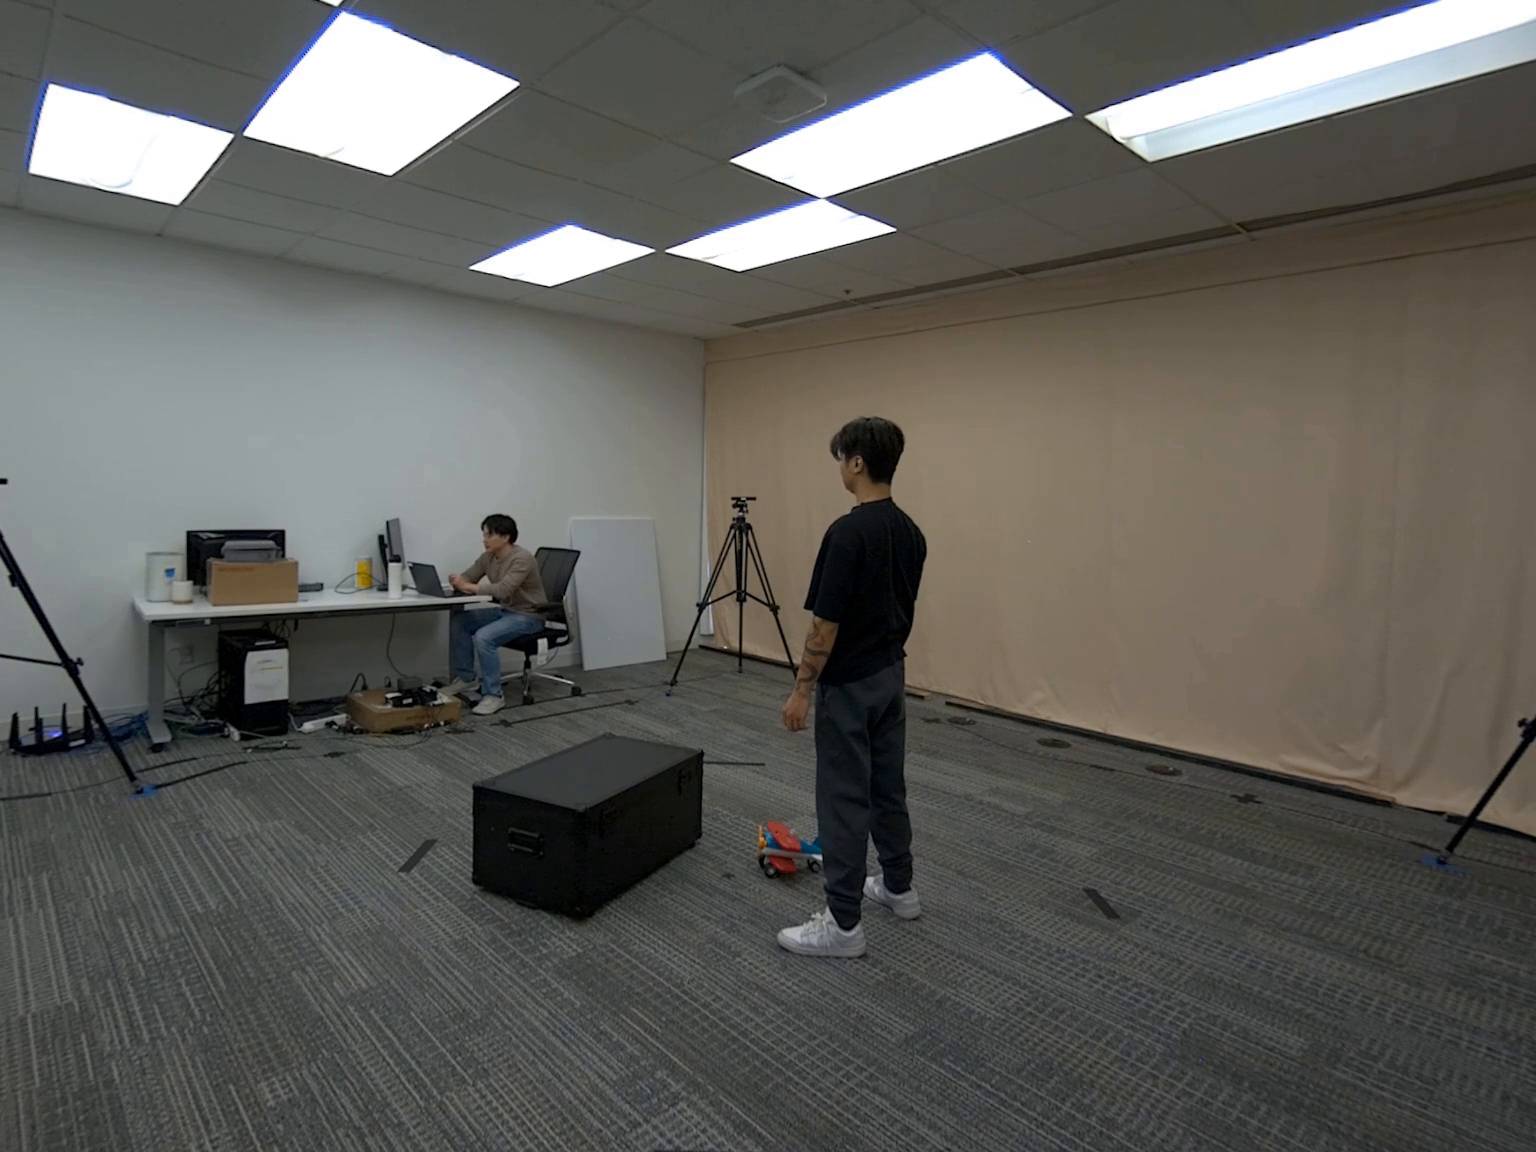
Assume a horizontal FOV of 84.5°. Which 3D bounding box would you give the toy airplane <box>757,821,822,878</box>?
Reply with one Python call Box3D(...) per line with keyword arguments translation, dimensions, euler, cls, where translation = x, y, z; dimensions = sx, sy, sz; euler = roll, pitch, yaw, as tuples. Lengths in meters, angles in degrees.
Box3D(translation=(0.064, 1.028, 3.177), dimensions=(0.253, 0.156, 0.257), euler=(-4, 7, -42), cls="toy airplane")
